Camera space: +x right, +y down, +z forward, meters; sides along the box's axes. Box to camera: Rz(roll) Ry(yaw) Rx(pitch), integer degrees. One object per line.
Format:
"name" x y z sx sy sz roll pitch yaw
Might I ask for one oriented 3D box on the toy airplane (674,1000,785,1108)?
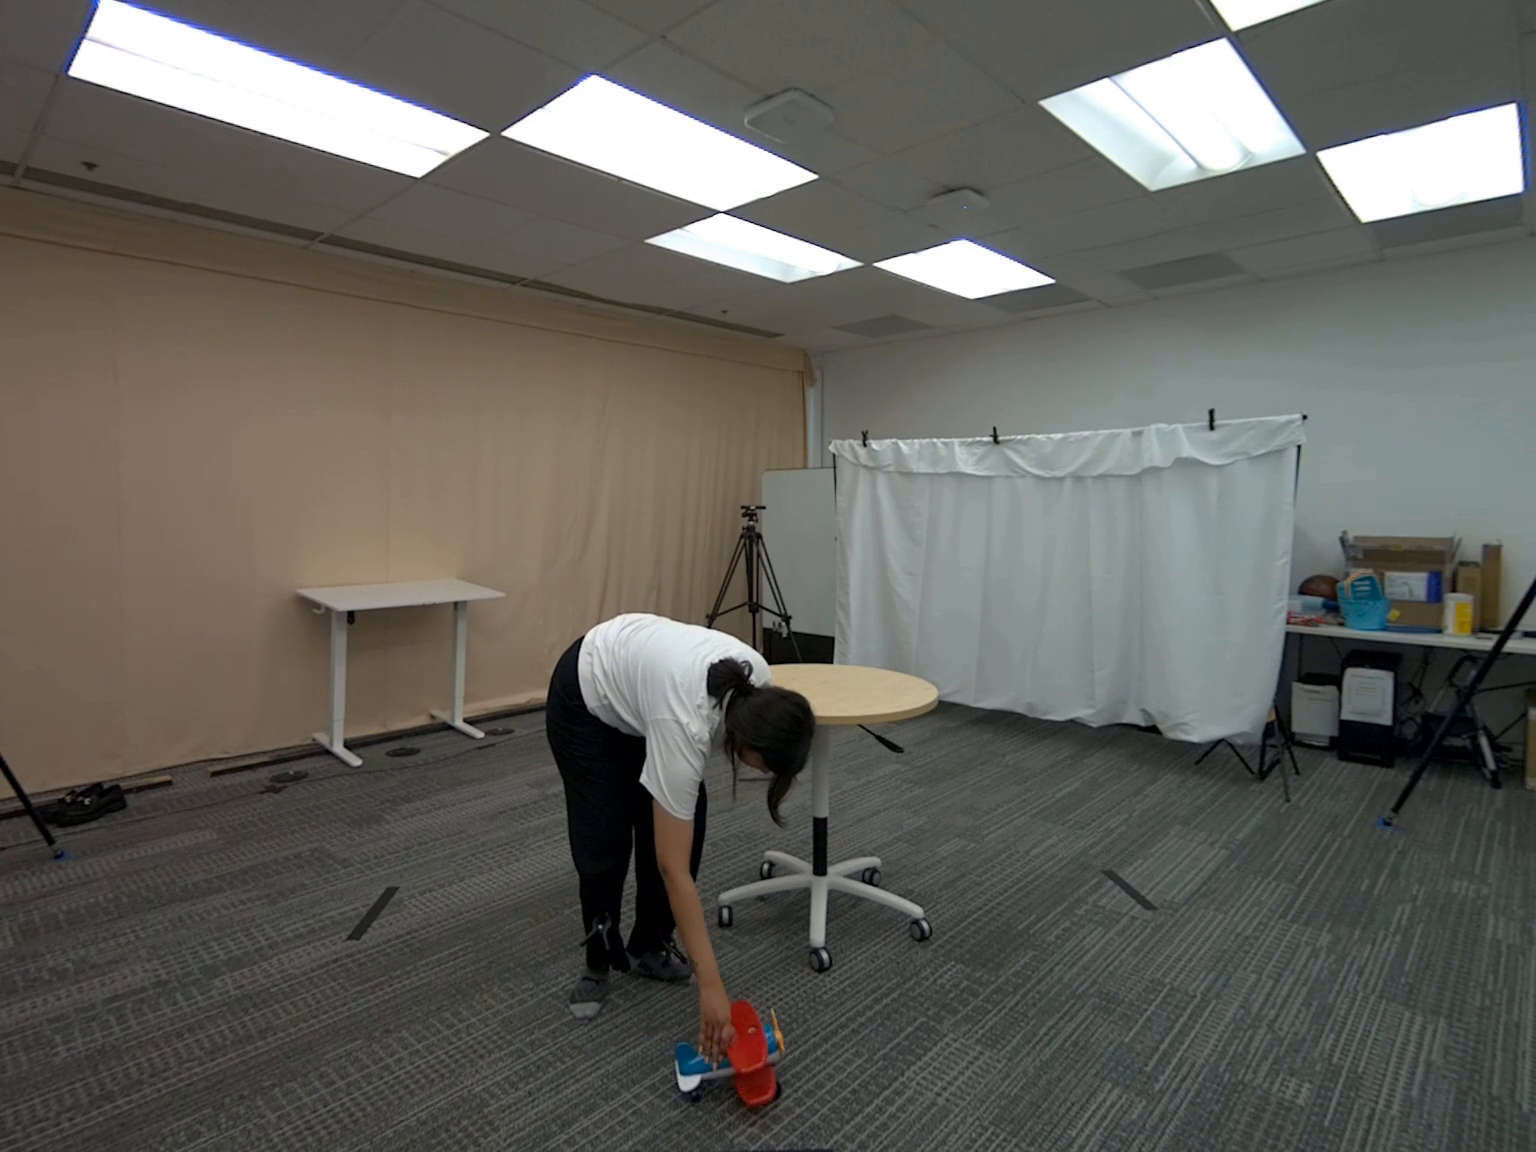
"toy airplane" -0.078 1.160 1.976 0.251 0.156 0.259 -2 7 -37
